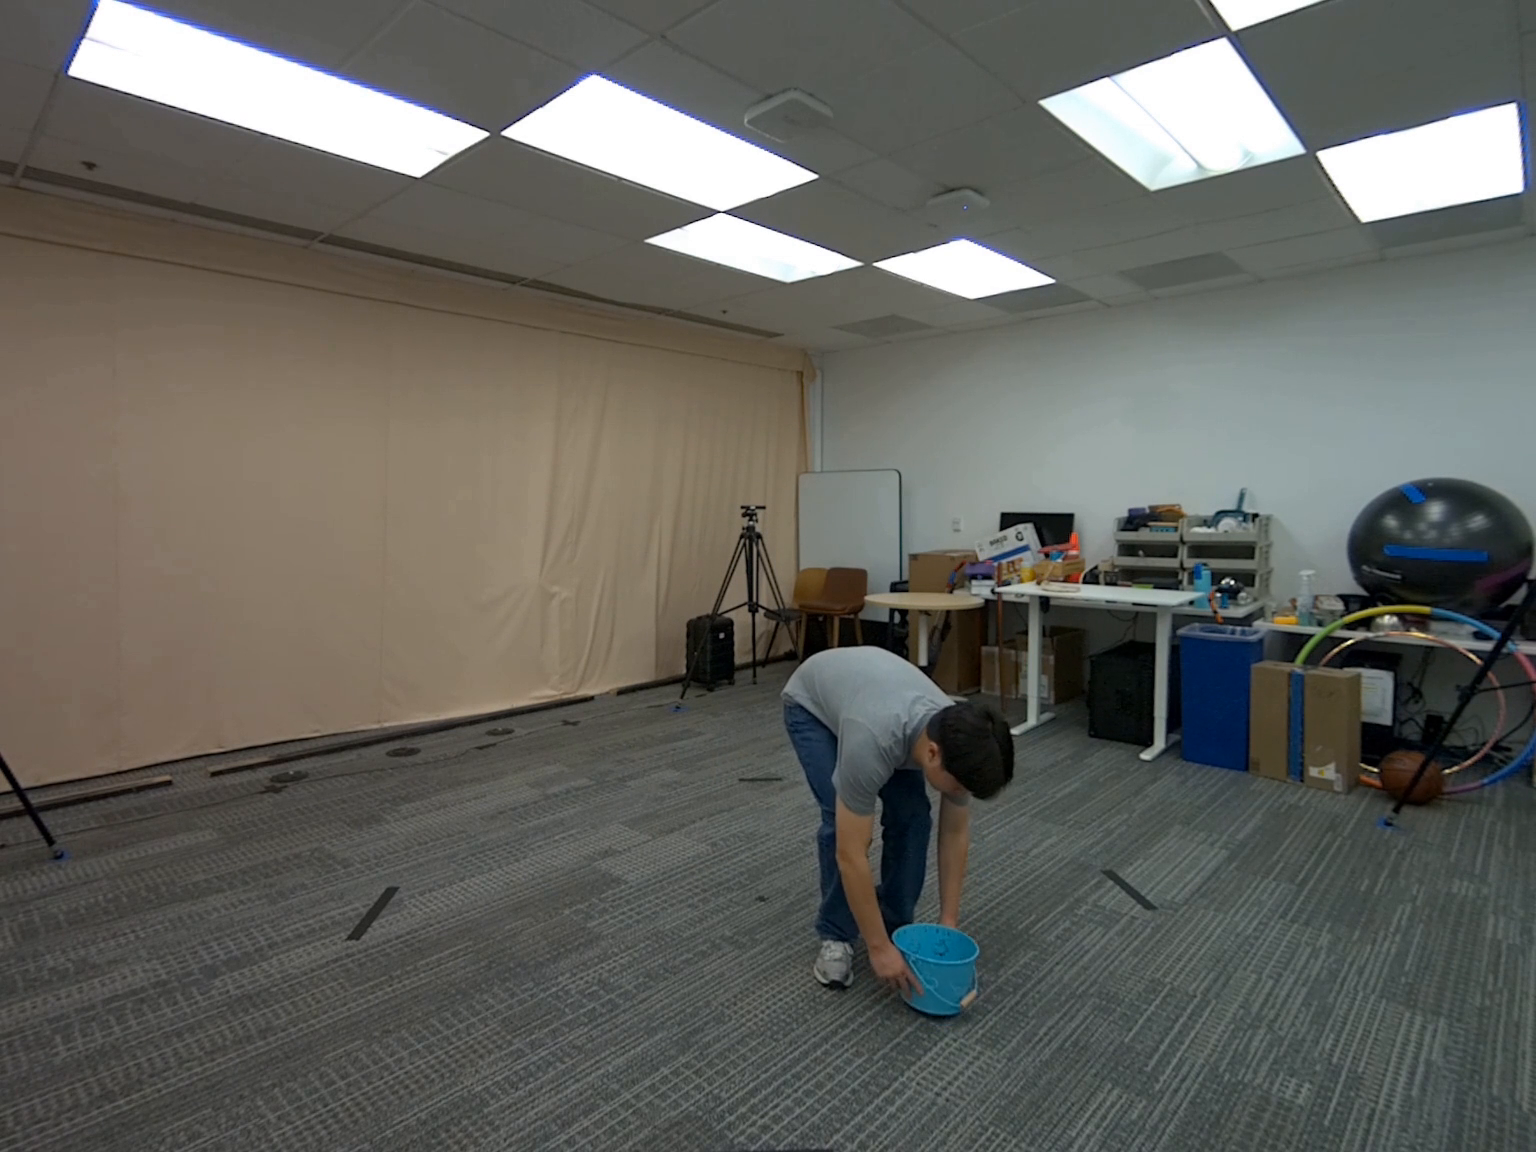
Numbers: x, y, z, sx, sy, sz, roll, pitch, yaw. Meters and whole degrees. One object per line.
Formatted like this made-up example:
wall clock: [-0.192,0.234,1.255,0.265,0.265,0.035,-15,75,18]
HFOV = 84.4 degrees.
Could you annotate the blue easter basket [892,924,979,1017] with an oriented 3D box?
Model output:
blue easter basket: [0.459,1.069,2.345,0.243,0.156,0.244,1,3,-2]
